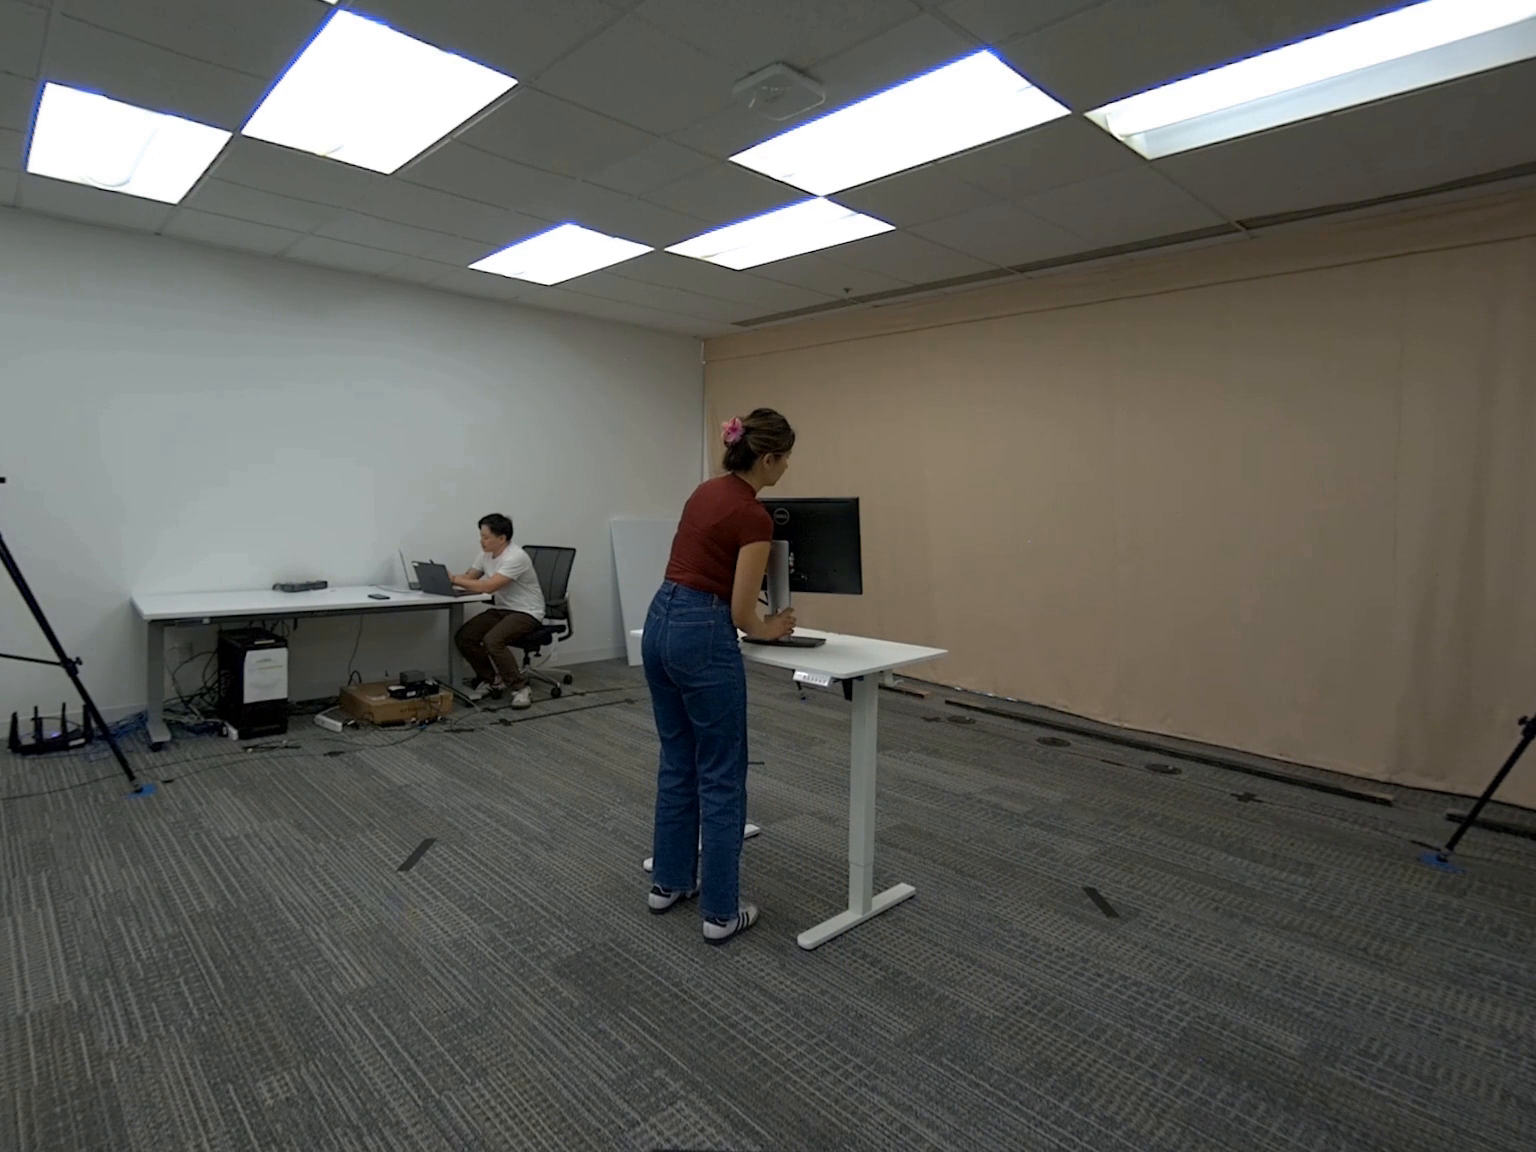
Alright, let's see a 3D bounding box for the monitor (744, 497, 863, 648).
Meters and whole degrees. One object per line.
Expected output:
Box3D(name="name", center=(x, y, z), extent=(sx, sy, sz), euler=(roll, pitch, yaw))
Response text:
Box3D(name="monitor", center=(0.046, -0.019, 2.963), extent=(0.547, 0.522, 0.185), euler=(1, 2, 18))
